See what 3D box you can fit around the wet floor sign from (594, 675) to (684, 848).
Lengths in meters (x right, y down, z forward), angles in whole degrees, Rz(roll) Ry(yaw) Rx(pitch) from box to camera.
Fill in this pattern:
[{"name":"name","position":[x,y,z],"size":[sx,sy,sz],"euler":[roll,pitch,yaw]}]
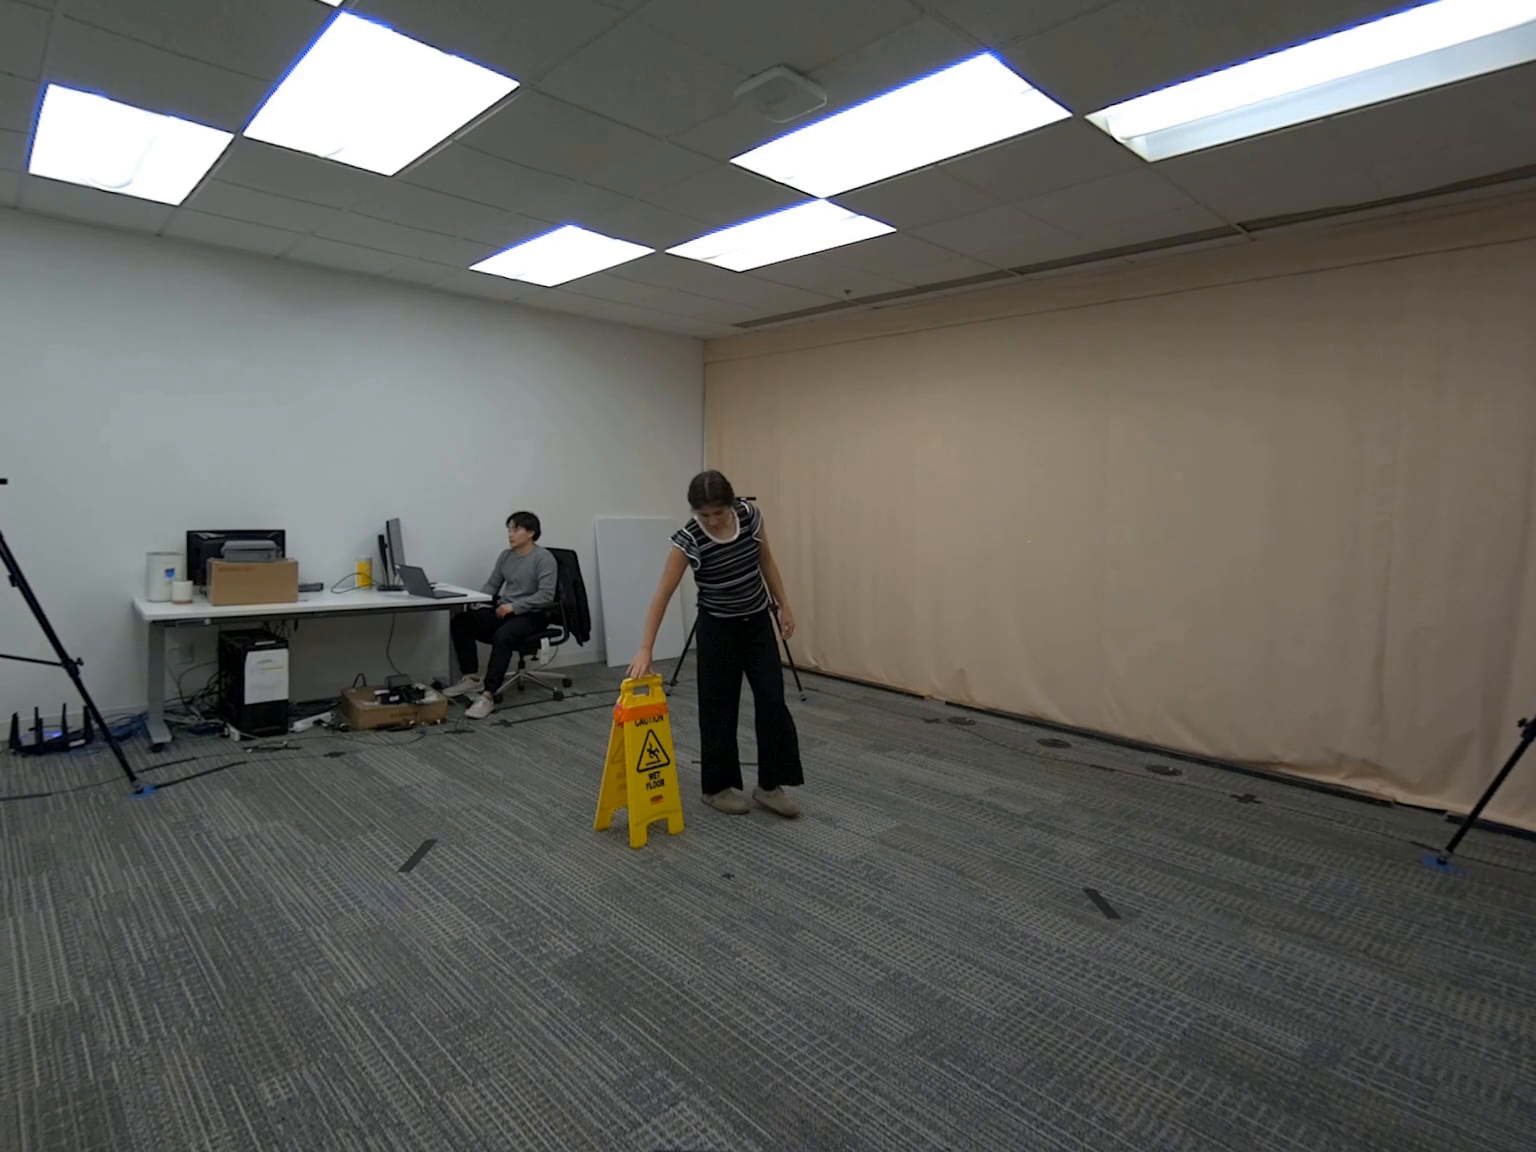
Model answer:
[{"name":"wet floor sign","position":[-0.540,0.738,3.494],"size":[0.297,0.645,0.276],"euler":[3,3,43]}]
